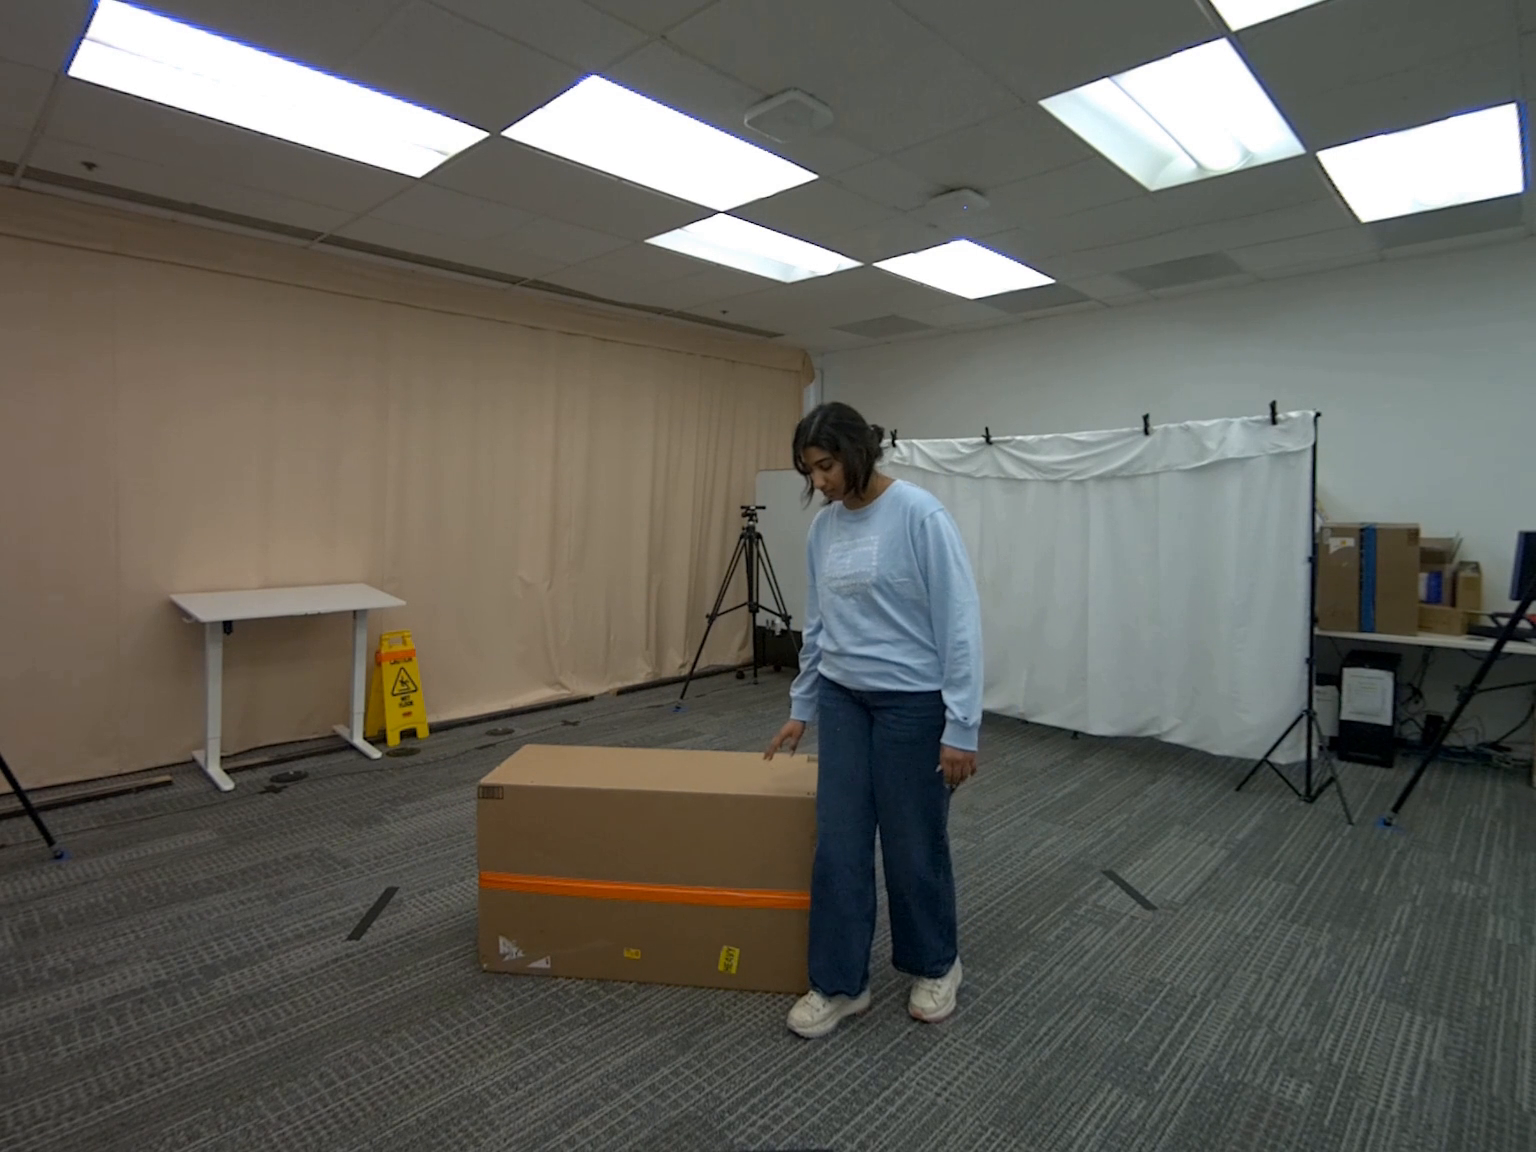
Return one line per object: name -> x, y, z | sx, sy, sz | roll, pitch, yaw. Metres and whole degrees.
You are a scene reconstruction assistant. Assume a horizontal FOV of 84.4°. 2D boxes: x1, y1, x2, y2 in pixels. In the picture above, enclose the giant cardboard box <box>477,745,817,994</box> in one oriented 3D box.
giant cardboard box -> -0.342, 0.882, 2.647 | 1.034, 0.576, 0.424 | 1, 4, 7
